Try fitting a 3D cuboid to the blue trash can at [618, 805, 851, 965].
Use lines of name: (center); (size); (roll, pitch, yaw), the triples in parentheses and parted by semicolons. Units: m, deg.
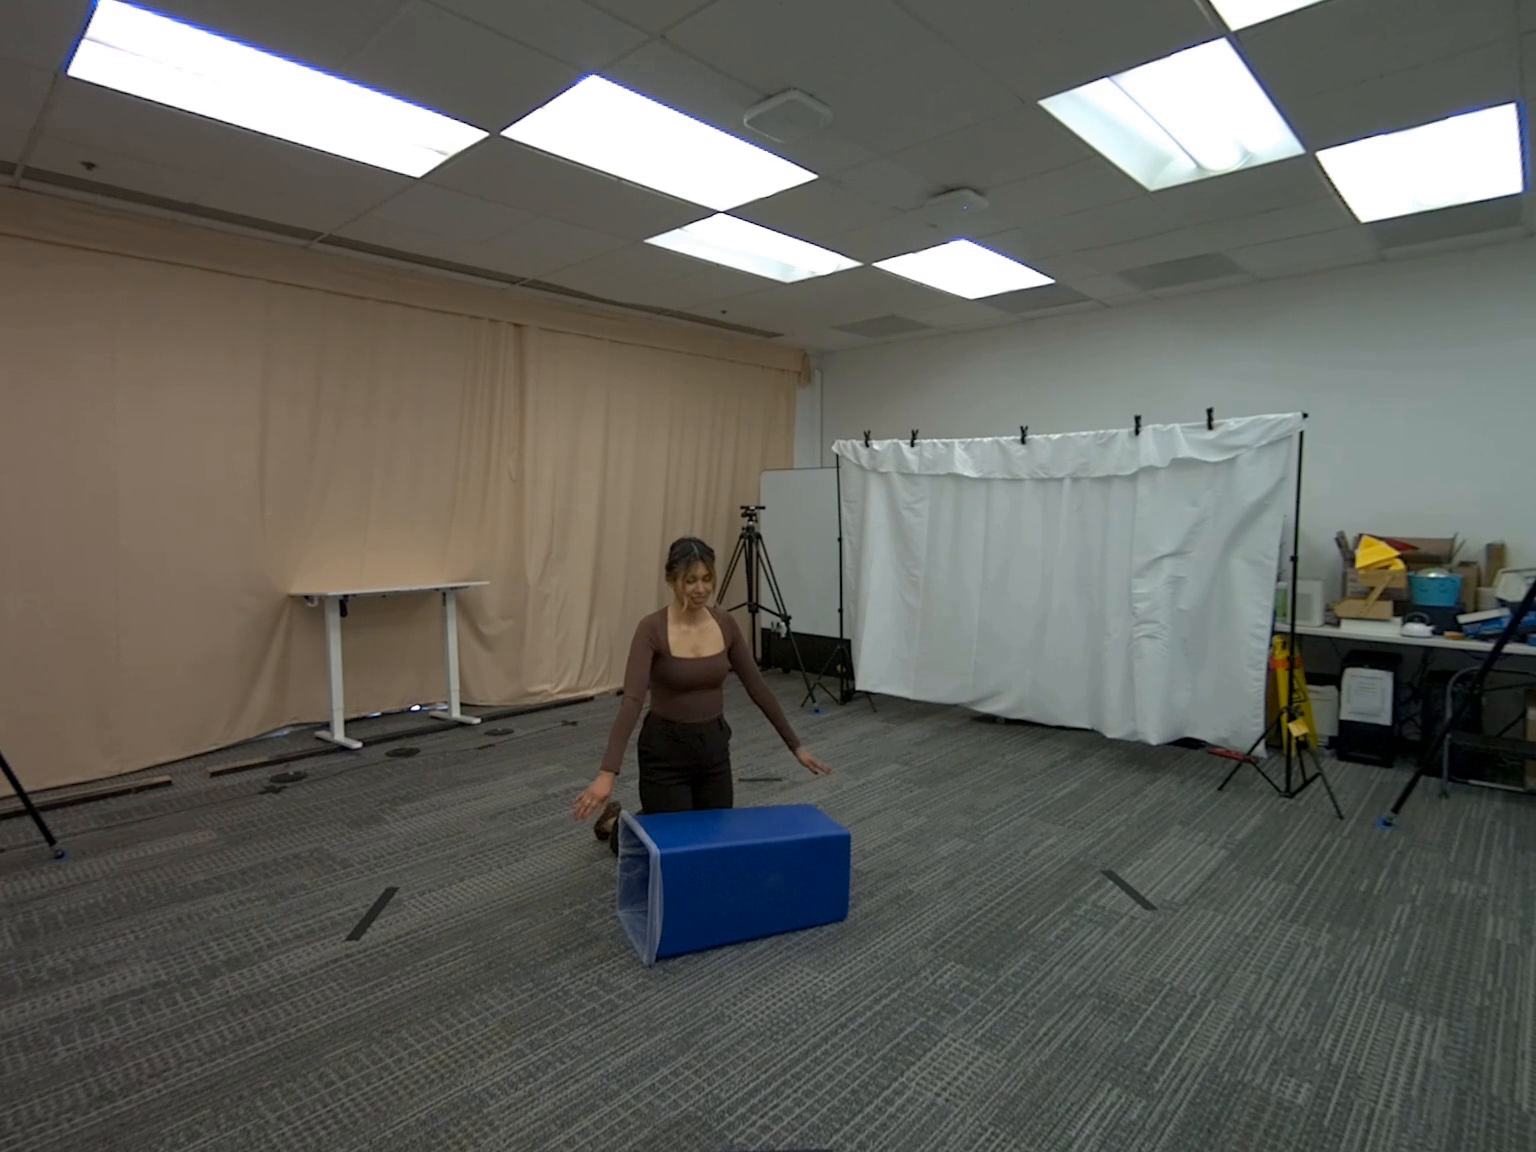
blue trash can: (-0.108, 0.983, 2.816); (0.698, 0.377, 0.383); (0, 3, -22)
